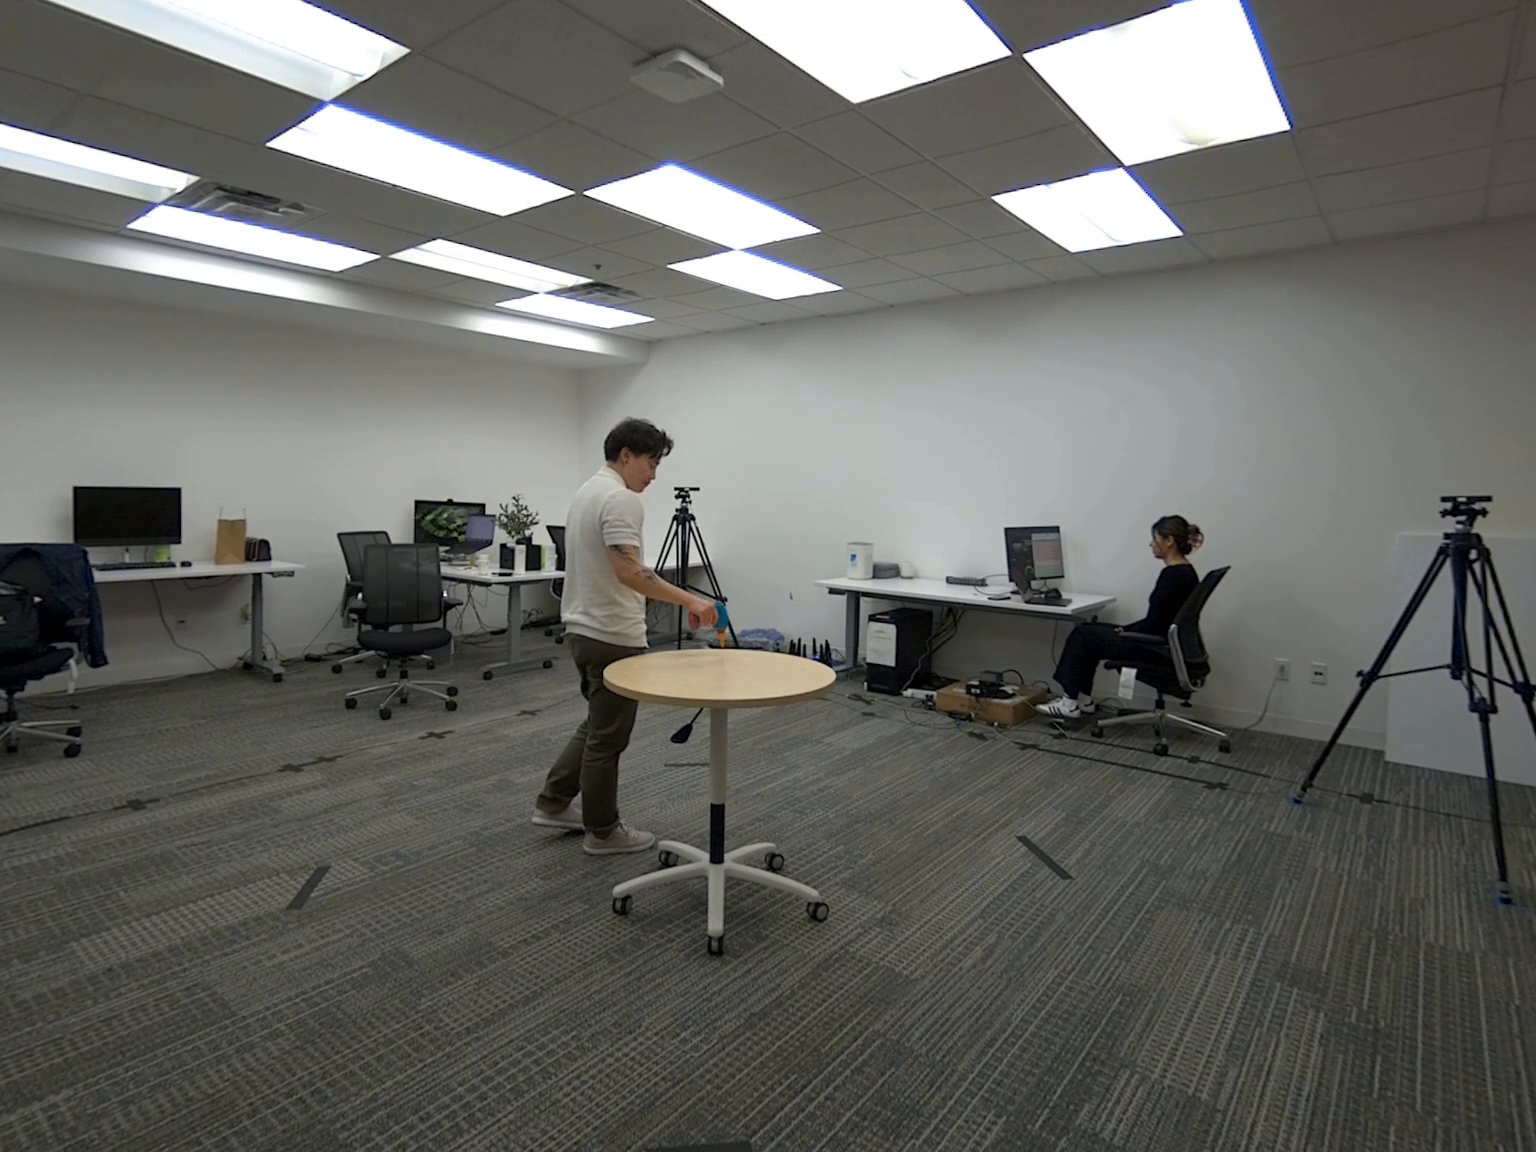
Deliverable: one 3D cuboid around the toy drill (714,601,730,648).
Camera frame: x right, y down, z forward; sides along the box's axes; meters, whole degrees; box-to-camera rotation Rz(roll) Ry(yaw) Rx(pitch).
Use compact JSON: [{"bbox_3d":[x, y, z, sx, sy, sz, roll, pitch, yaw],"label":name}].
[{"bbox_3d":[-0.227,0.179,3.070,0.143,0.167,0.063,-9,17,-22],"label":"toy drill"}]
